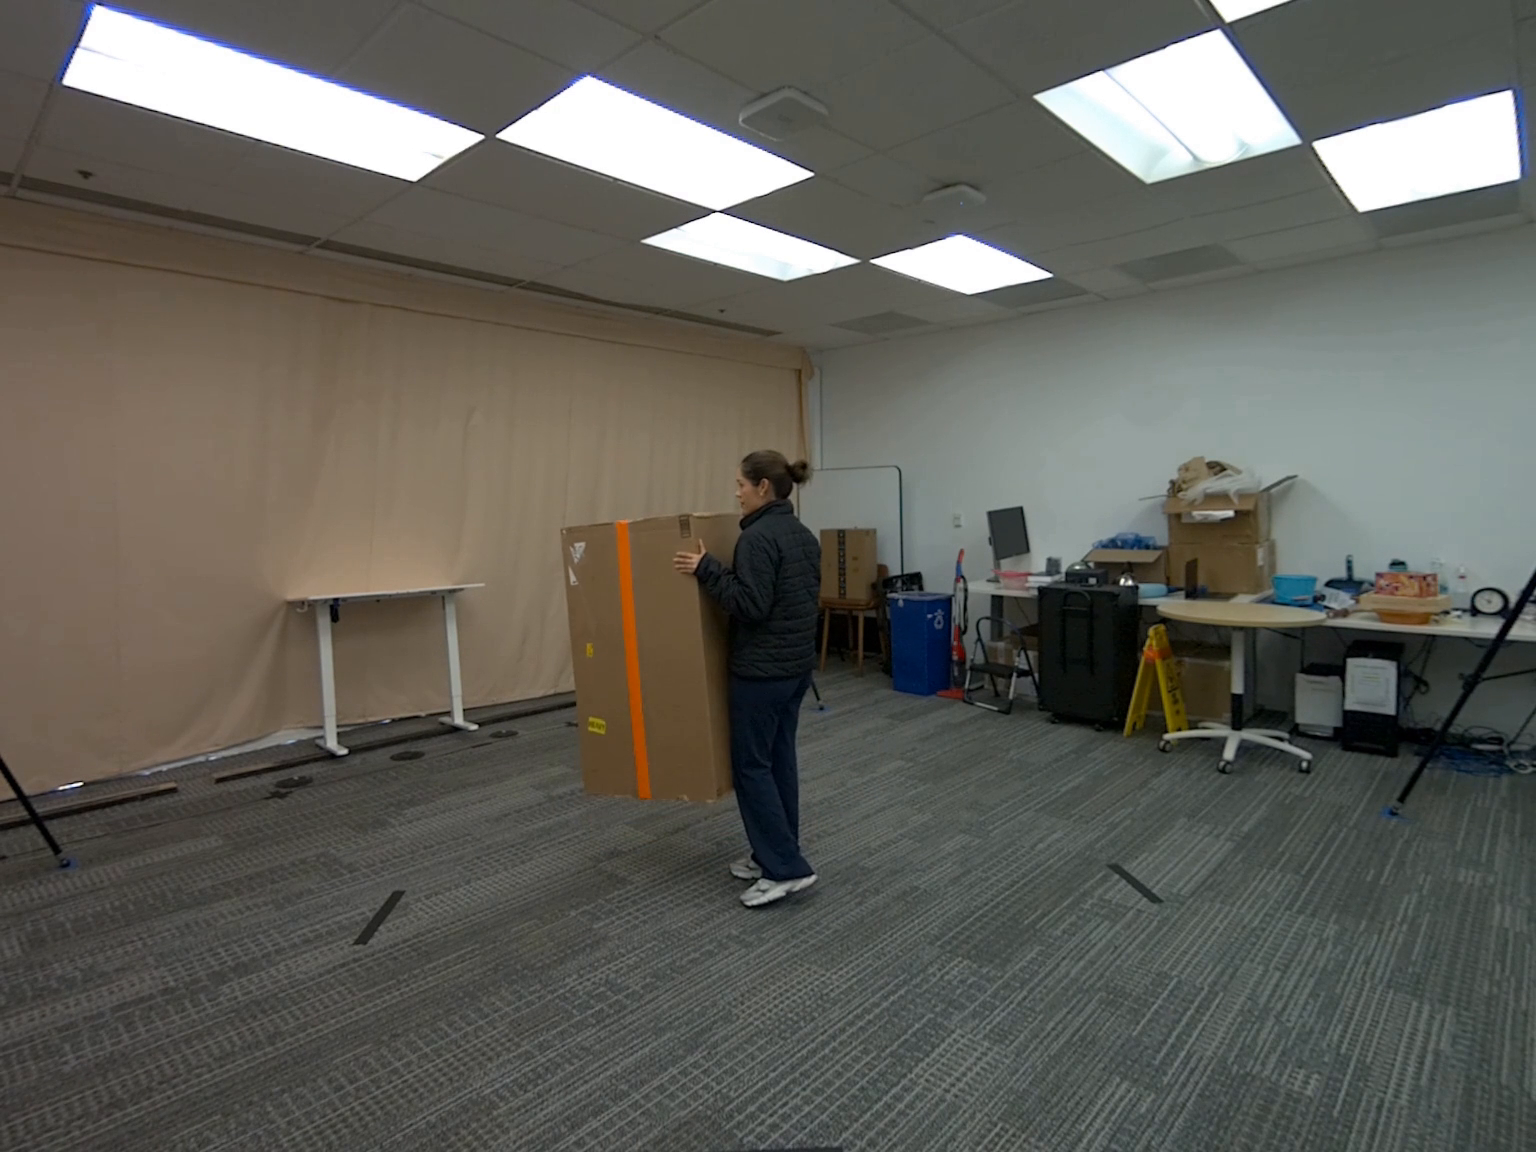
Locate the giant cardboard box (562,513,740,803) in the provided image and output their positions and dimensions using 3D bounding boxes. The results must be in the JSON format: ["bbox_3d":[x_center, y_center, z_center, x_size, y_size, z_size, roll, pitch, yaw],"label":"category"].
[{"bbox_3d":[-0.397,0.297,3.254,0.592,1.025,0.416,-5,1,27],"label":"giant cardboard box"}]
